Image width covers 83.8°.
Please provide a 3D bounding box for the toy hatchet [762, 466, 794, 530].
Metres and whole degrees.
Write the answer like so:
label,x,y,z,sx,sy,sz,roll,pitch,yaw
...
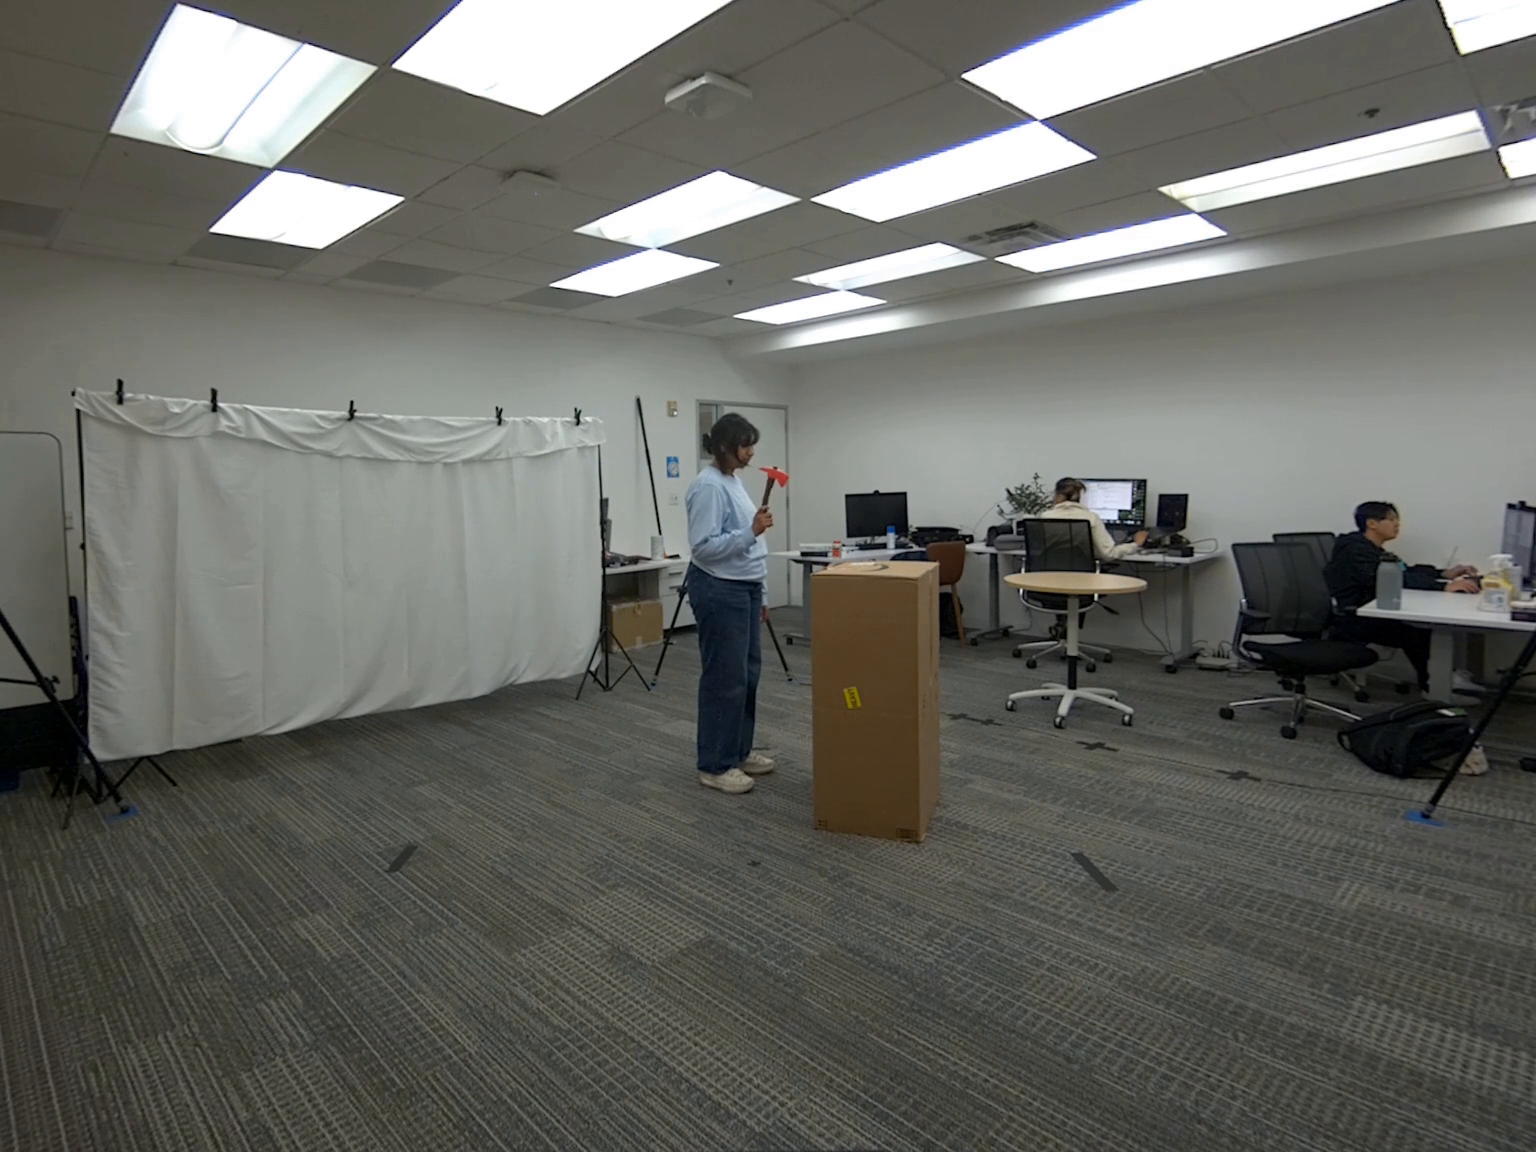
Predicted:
label,x,y,z,sx,sy,sz,roll,pitch,yaw
toy hatchet,0.041,-0.338,3.705,0.132,0.268,0.029,1,9,9
